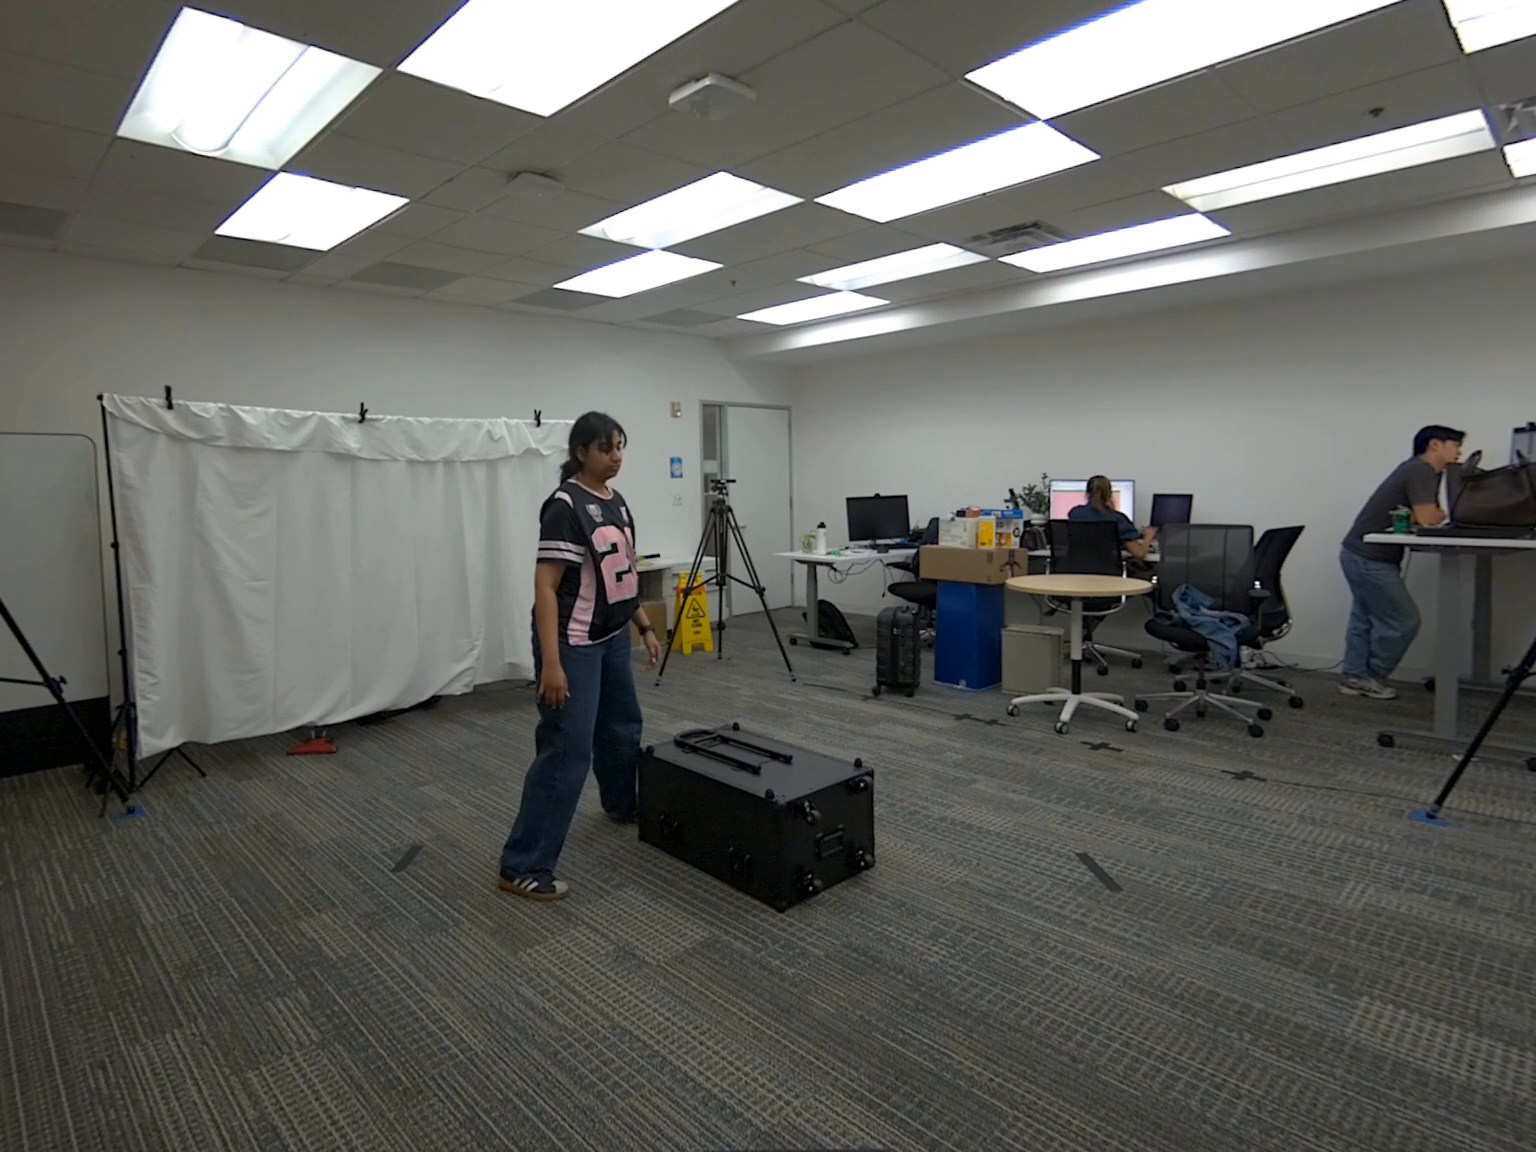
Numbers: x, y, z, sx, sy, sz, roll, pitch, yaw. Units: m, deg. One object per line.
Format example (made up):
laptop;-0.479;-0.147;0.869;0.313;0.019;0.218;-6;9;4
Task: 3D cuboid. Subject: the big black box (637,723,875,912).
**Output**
big black box;-0.030;0.858;3.168;0.509;0.384;0.895;-4;7;-43
